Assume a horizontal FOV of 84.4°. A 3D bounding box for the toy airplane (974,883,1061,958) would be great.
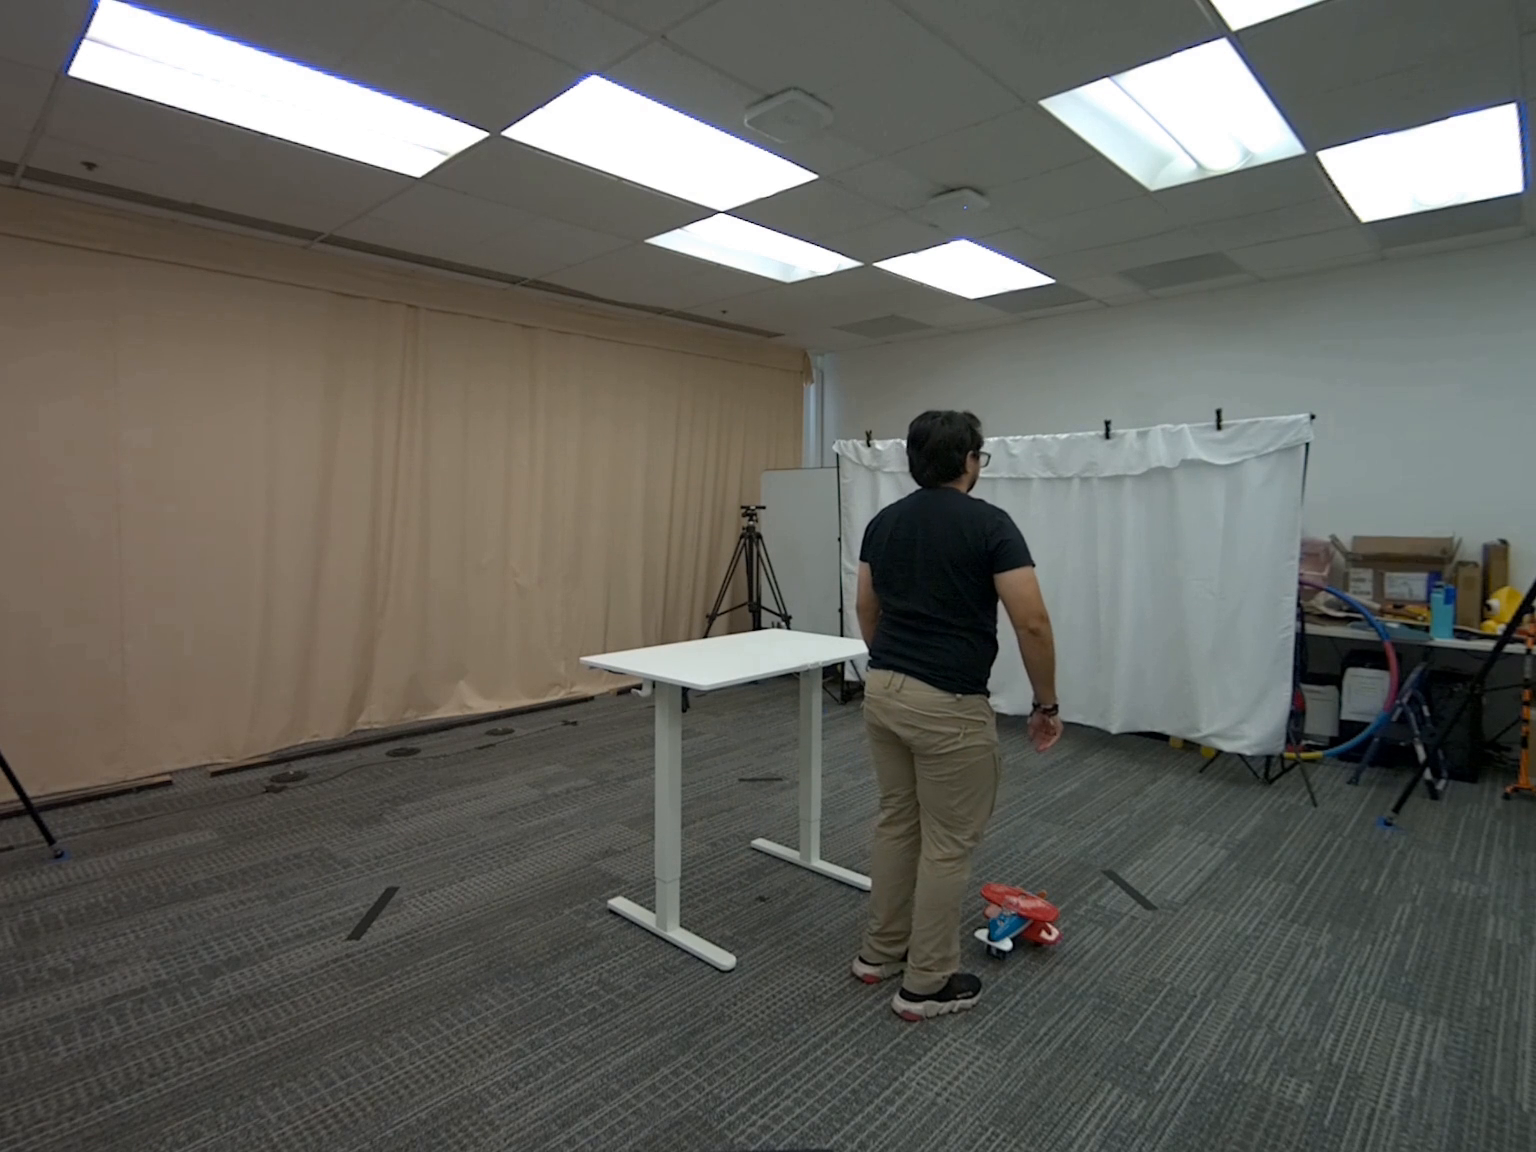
[{"bbox_3d":[0.792,1.099,2.633,0.257,0.156,0.254,1,3,22],"label":"toy airplane"}]
